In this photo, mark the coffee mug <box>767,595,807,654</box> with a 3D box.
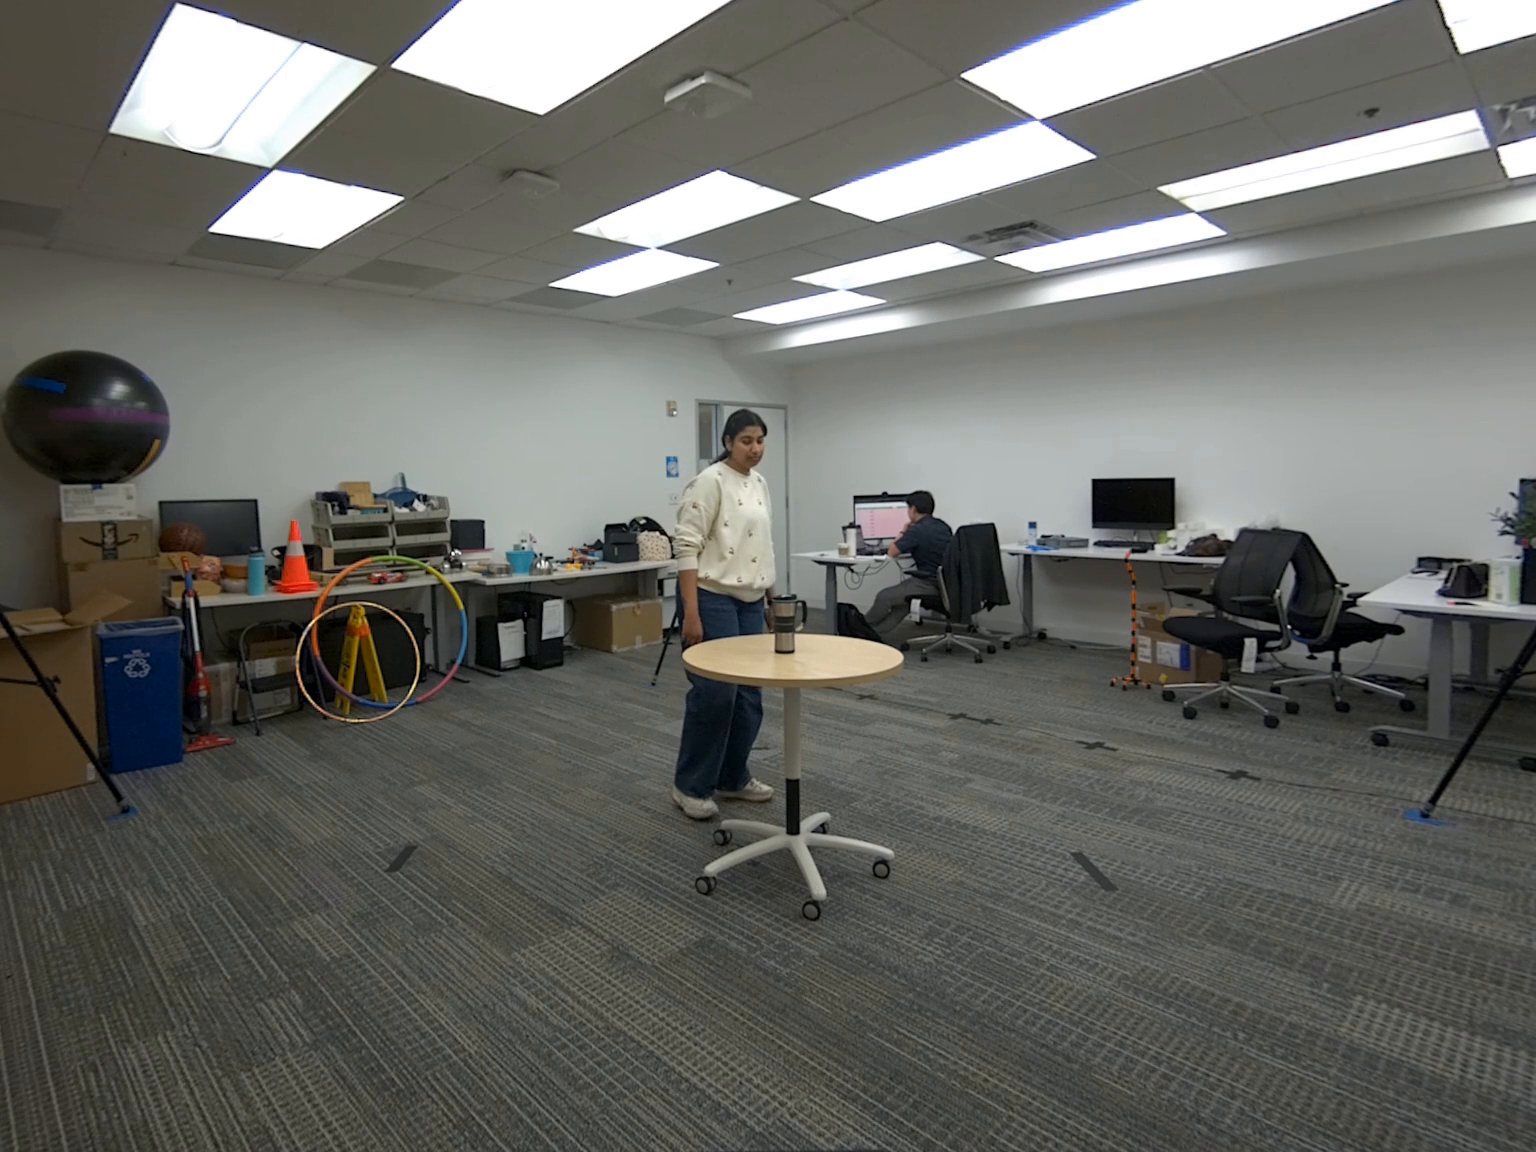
[{"bbox_3d":[0.073,0.175,2.998,0.085,0.203,0.125,0,-1,-42],"label":"coffee mug"}]
